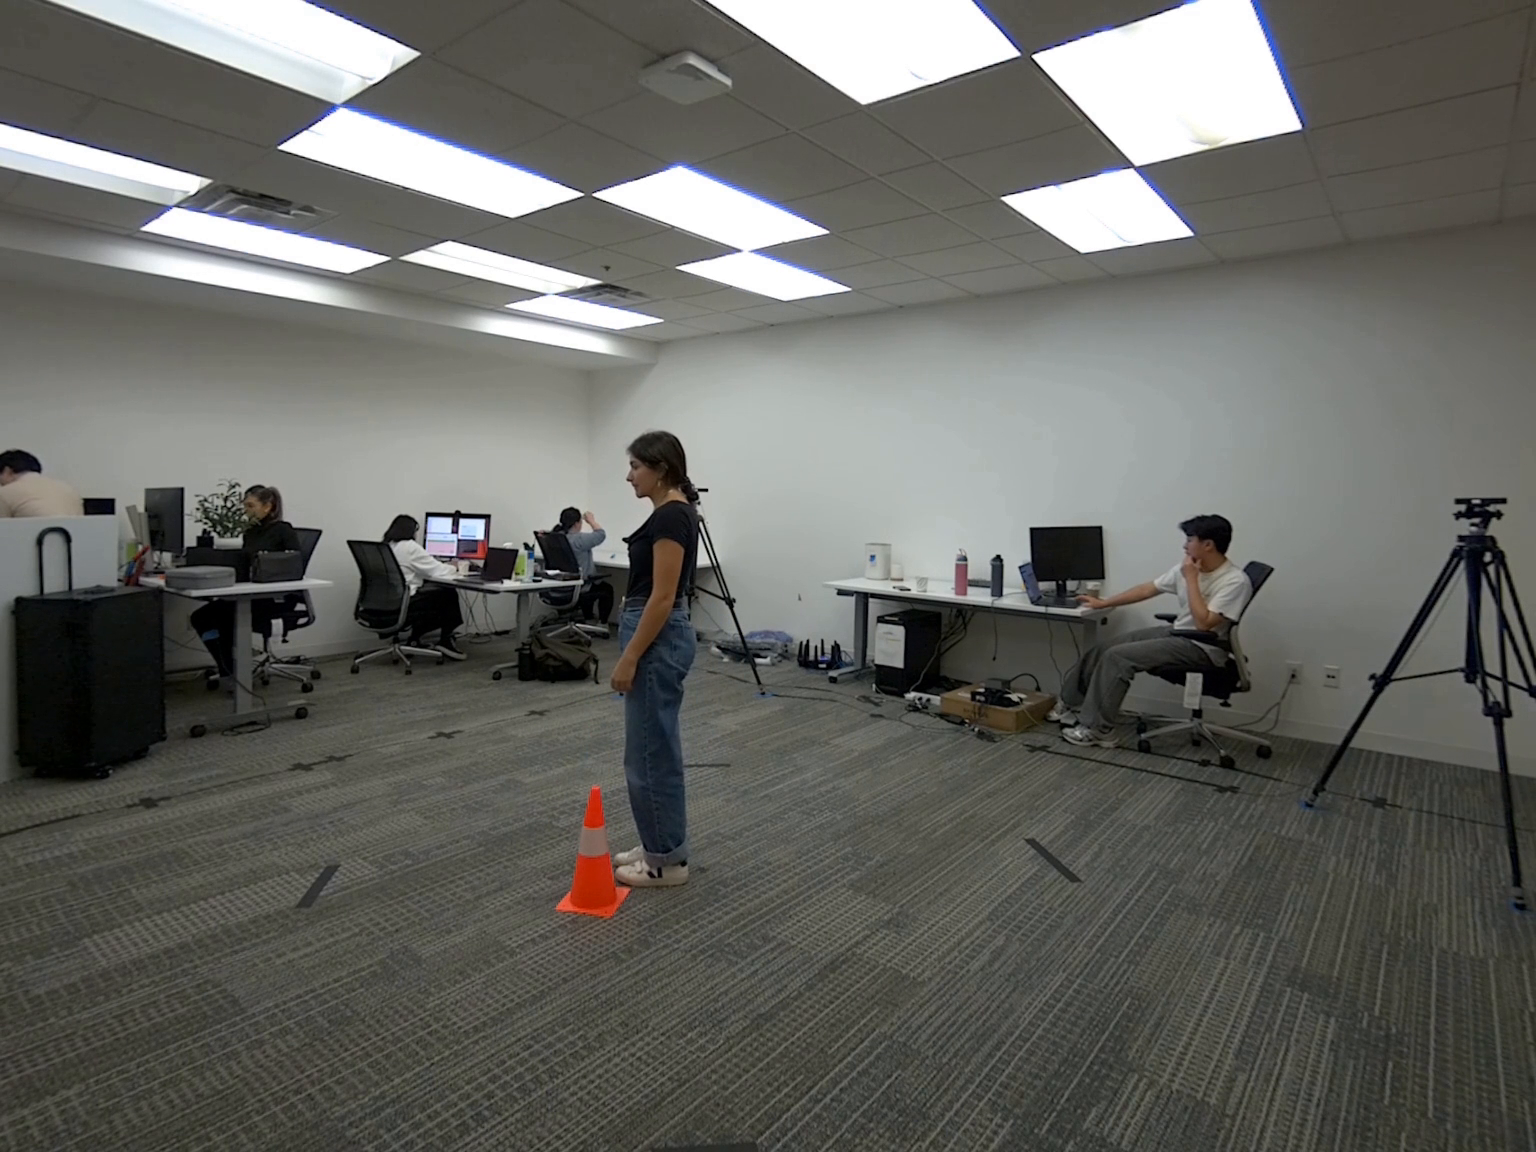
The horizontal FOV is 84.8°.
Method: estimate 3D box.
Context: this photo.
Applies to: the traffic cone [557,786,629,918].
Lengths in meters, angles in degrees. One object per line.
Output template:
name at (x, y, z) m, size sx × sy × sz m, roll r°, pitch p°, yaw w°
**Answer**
traffic cone at (-0.590, 0.896, 2.865) m, size 0.206 × 0.382 × 0.203 m, roll 3°, pitch 4°, yaw 12°
